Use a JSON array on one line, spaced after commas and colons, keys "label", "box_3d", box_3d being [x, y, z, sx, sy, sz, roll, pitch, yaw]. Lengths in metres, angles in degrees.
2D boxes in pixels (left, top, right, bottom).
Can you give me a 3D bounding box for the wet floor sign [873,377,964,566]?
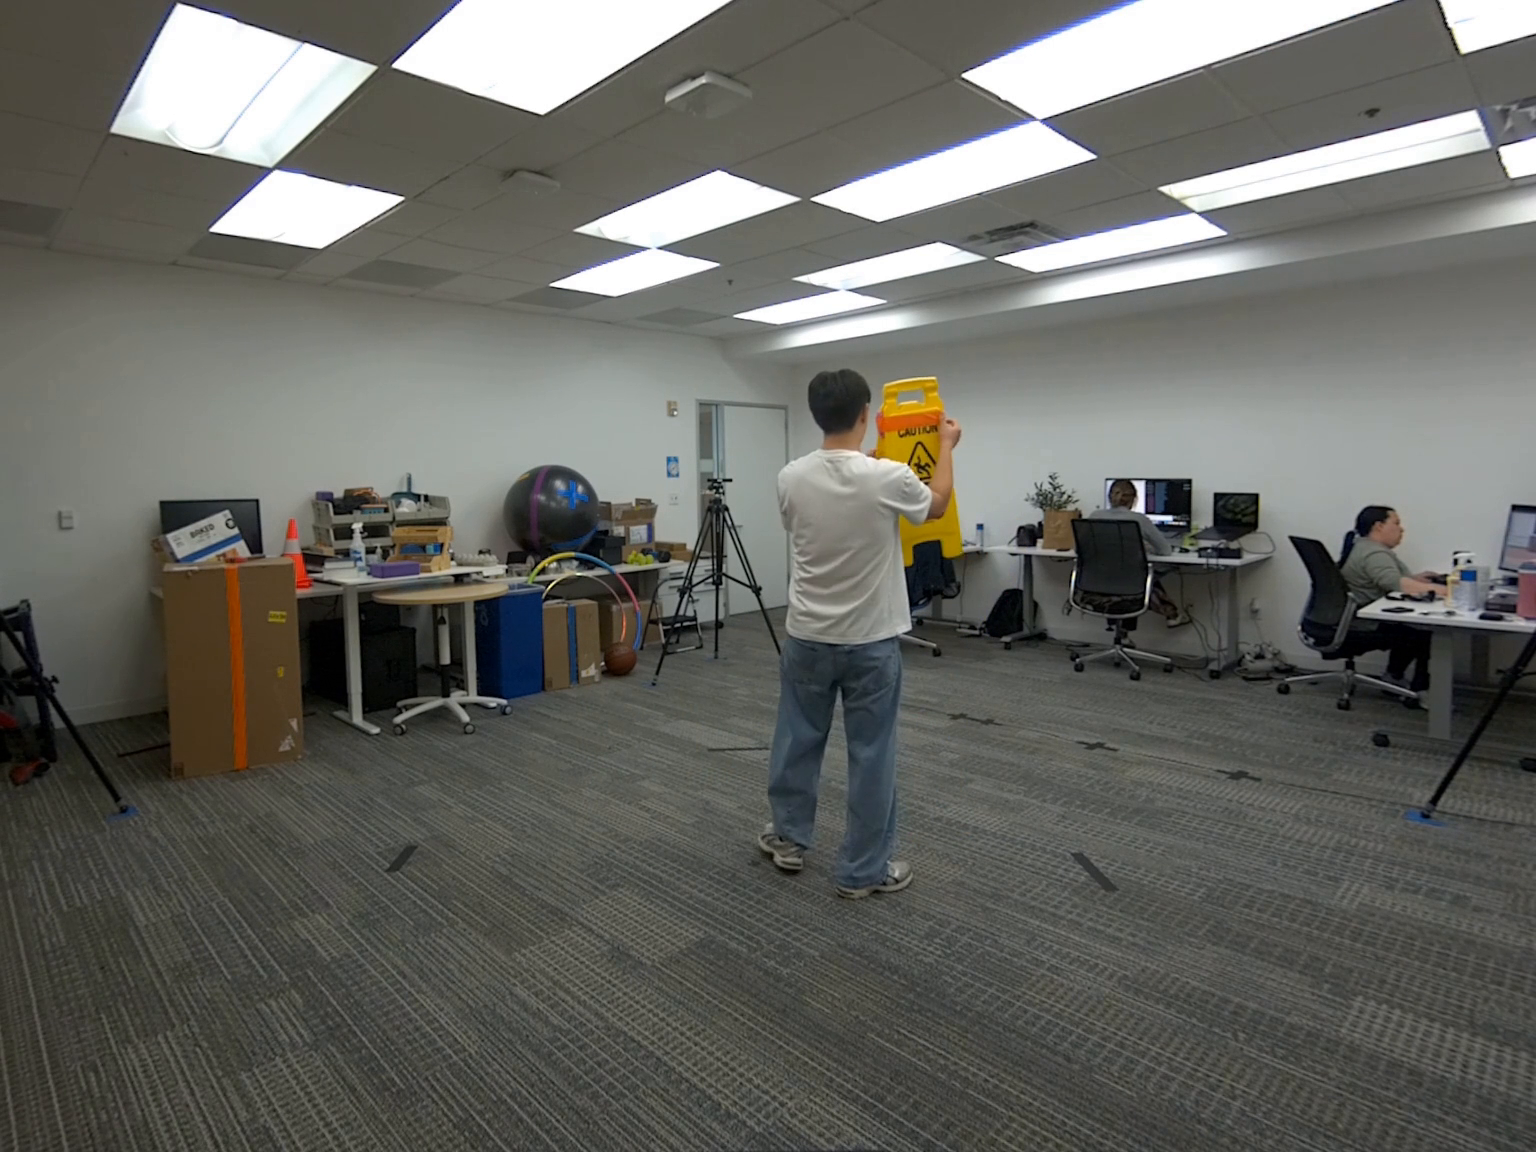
[{"label": "wet floor sign", "box_3d": [0.536, -0.386, 3.123, 0.280, 0.634, 0.297, -9, 19, -11]}]
